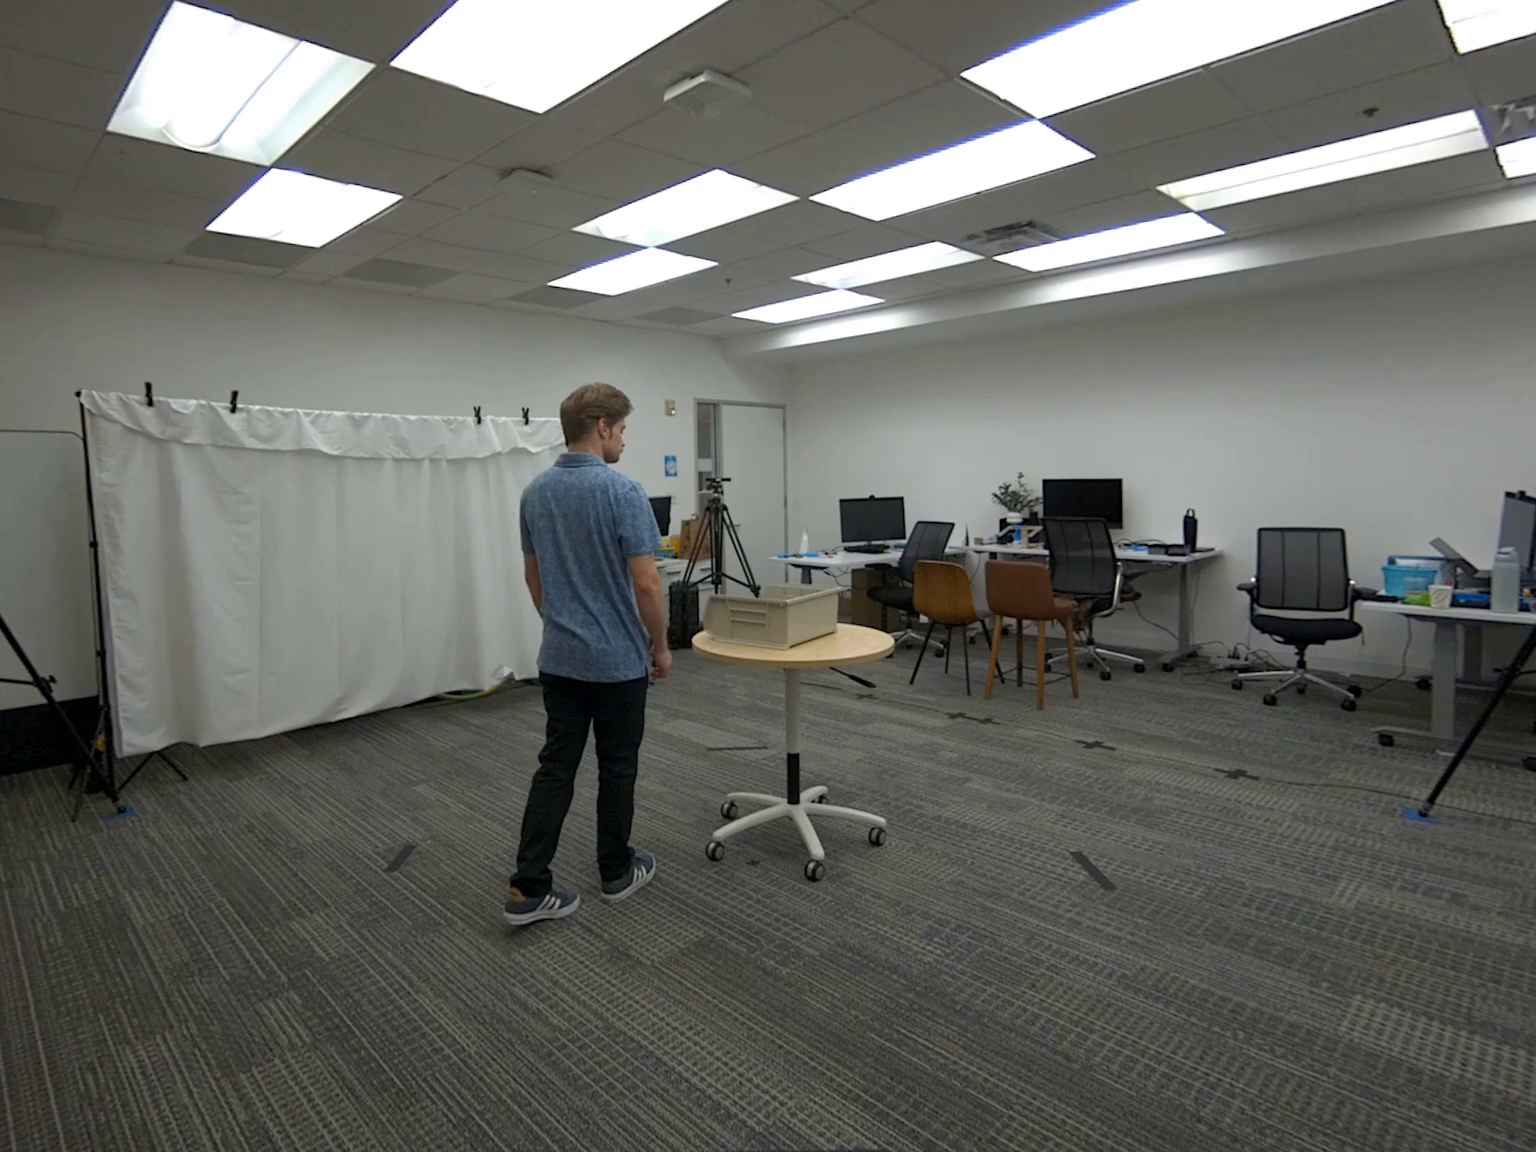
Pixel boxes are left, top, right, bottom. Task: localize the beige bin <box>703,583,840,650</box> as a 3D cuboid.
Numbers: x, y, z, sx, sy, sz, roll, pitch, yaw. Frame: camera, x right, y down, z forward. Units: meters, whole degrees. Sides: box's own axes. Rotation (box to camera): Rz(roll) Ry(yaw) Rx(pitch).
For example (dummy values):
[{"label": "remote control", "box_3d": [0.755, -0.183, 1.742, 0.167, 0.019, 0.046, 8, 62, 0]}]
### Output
[{"label": "beige bin", "box_3d": [0.022, 0.148, 3.306, 0.388, 0.188, 0.412, 5, 8, 33]}]
